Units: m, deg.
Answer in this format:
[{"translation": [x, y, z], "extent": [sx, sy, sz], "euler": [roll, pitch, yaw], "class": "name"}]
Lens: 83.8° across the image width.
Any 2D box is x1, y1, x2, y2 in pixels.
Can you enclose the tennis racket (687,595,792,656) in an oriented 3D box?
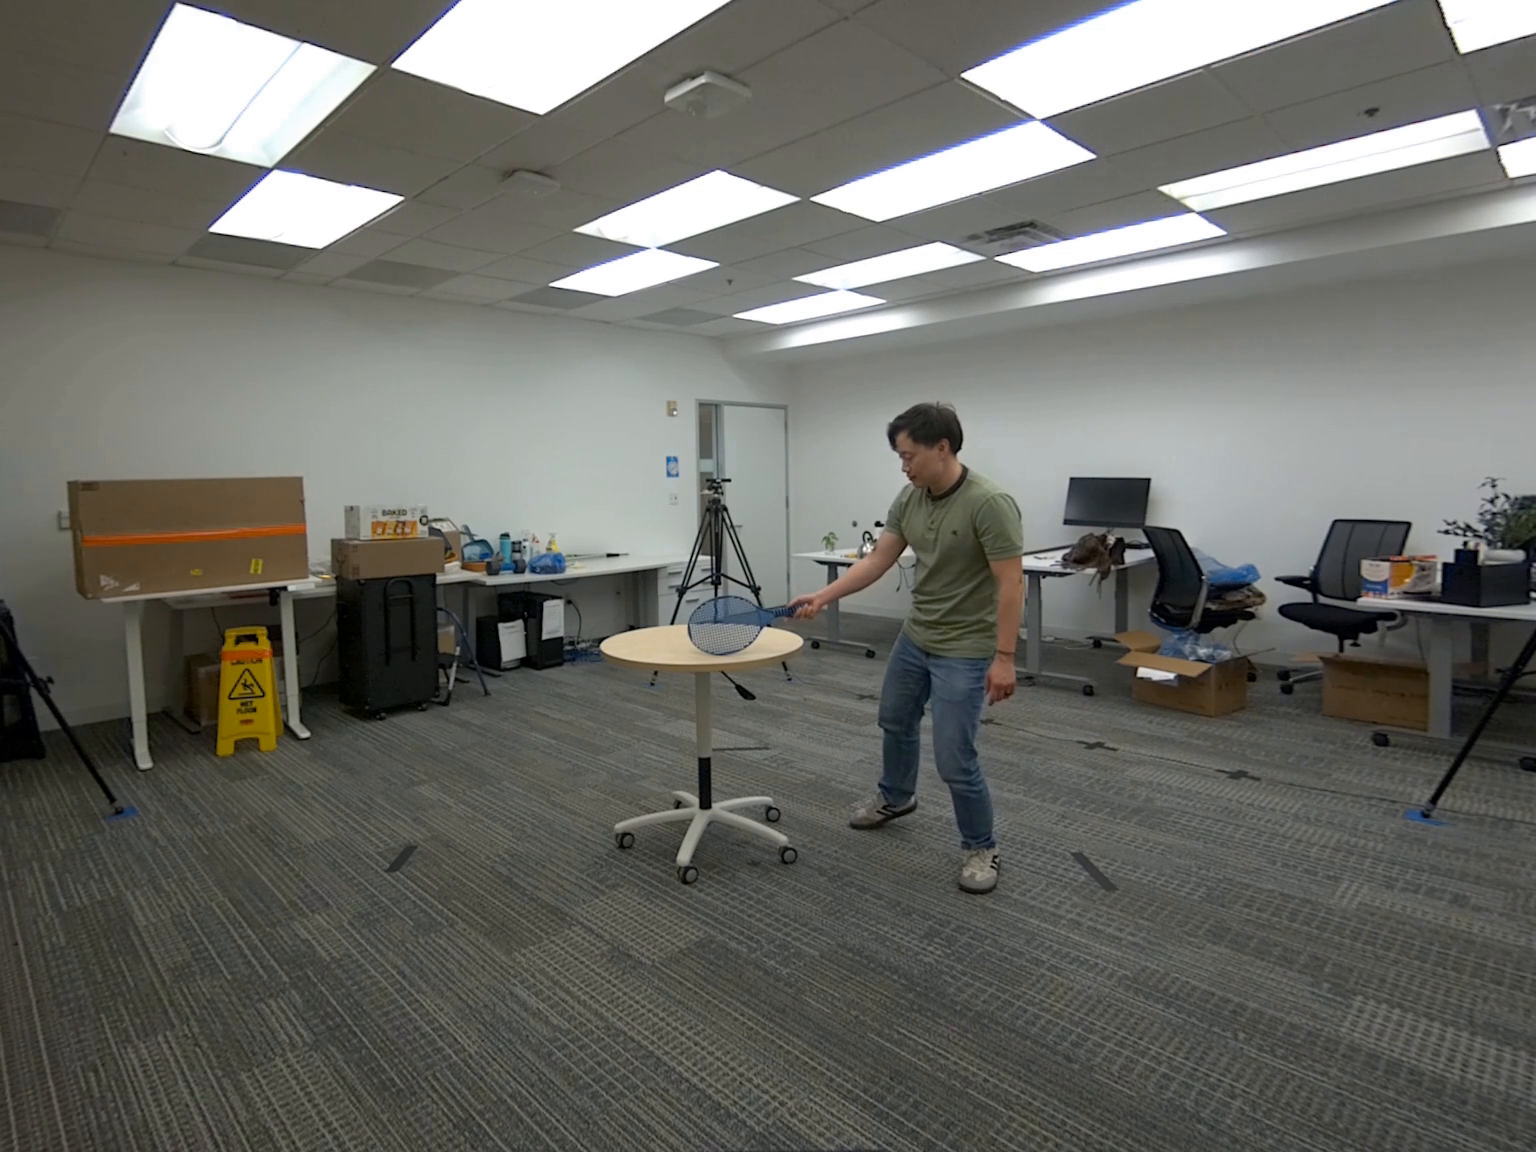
[{"translation": [-0.063, 0.152, 3.024], "extent": [0.434, 0.218, 0.031], "euler": [-15, -18, 4], "class": "tennis racket"}]
